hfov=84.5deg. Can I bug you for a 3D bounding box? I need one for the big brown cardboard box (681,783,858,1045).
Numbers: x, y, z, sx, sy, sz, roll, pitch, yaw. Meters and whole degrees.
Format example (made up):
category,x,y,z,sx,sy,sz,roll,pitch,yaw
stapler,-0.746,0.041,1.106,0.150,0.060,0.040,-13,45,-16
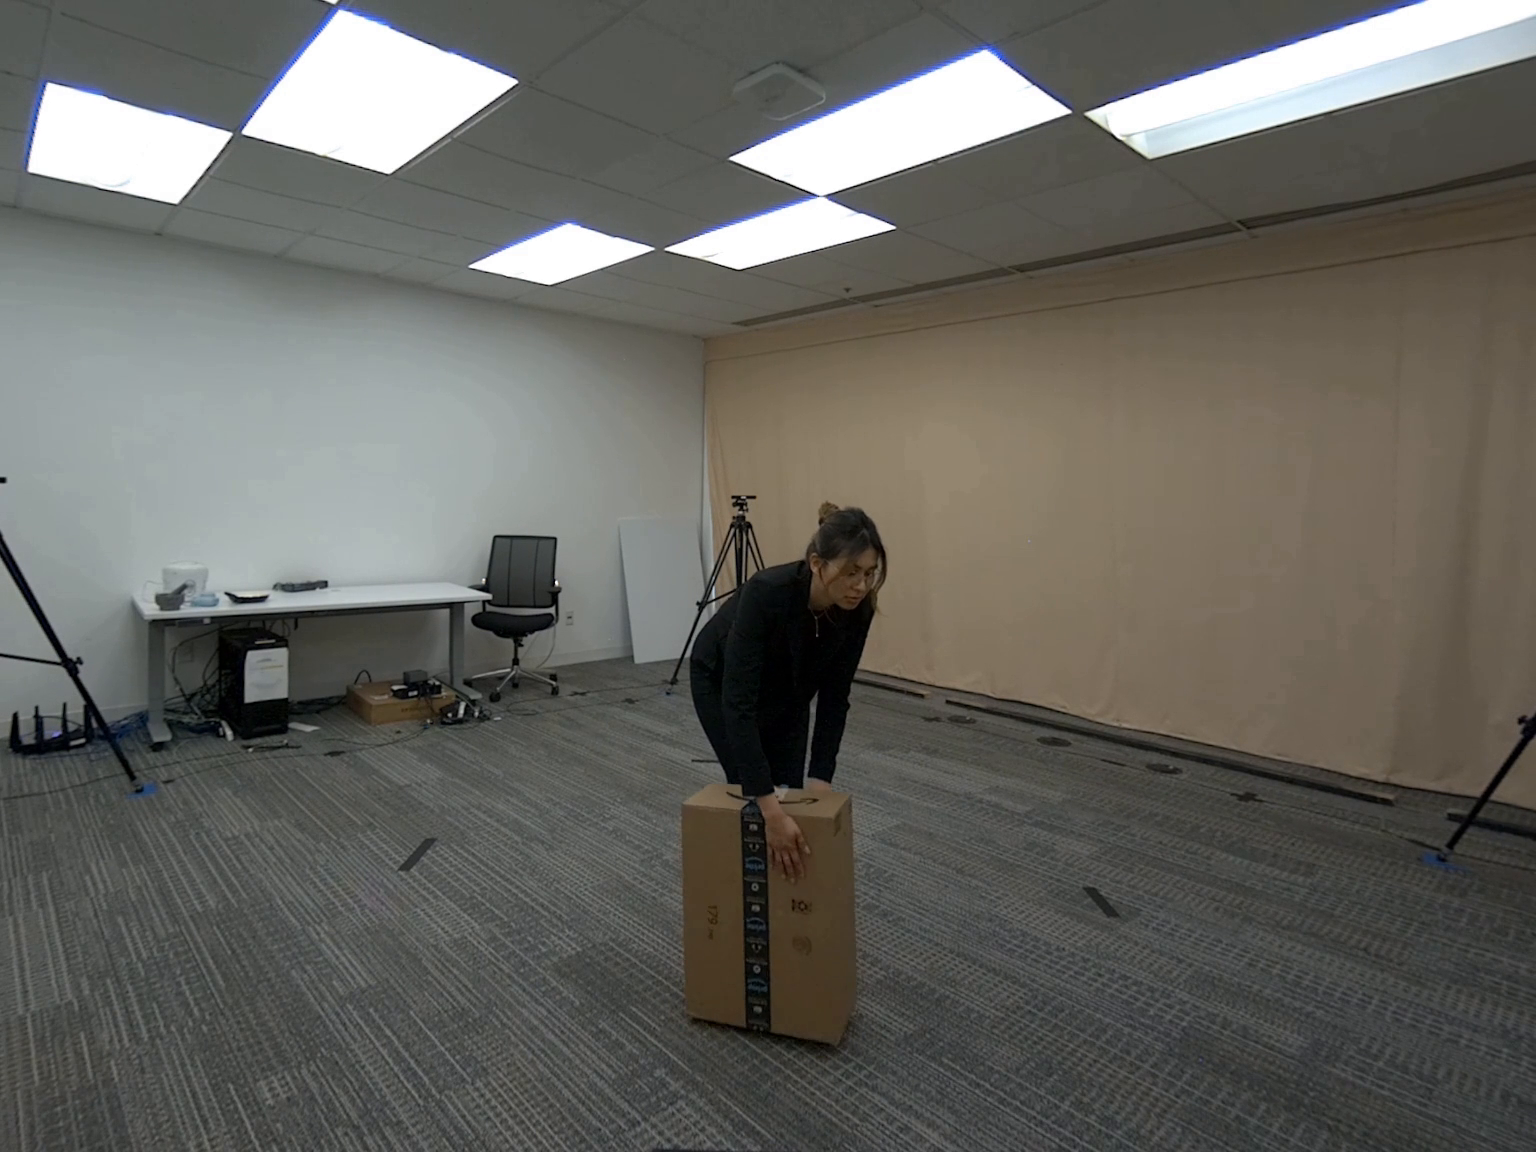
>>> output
category,x,y,z,sx,sy,sz,roll,pitch,yaw
big brown cardboard box,0.012,0.873,2.239,0.424,0.588,0.230,-1,2,20
